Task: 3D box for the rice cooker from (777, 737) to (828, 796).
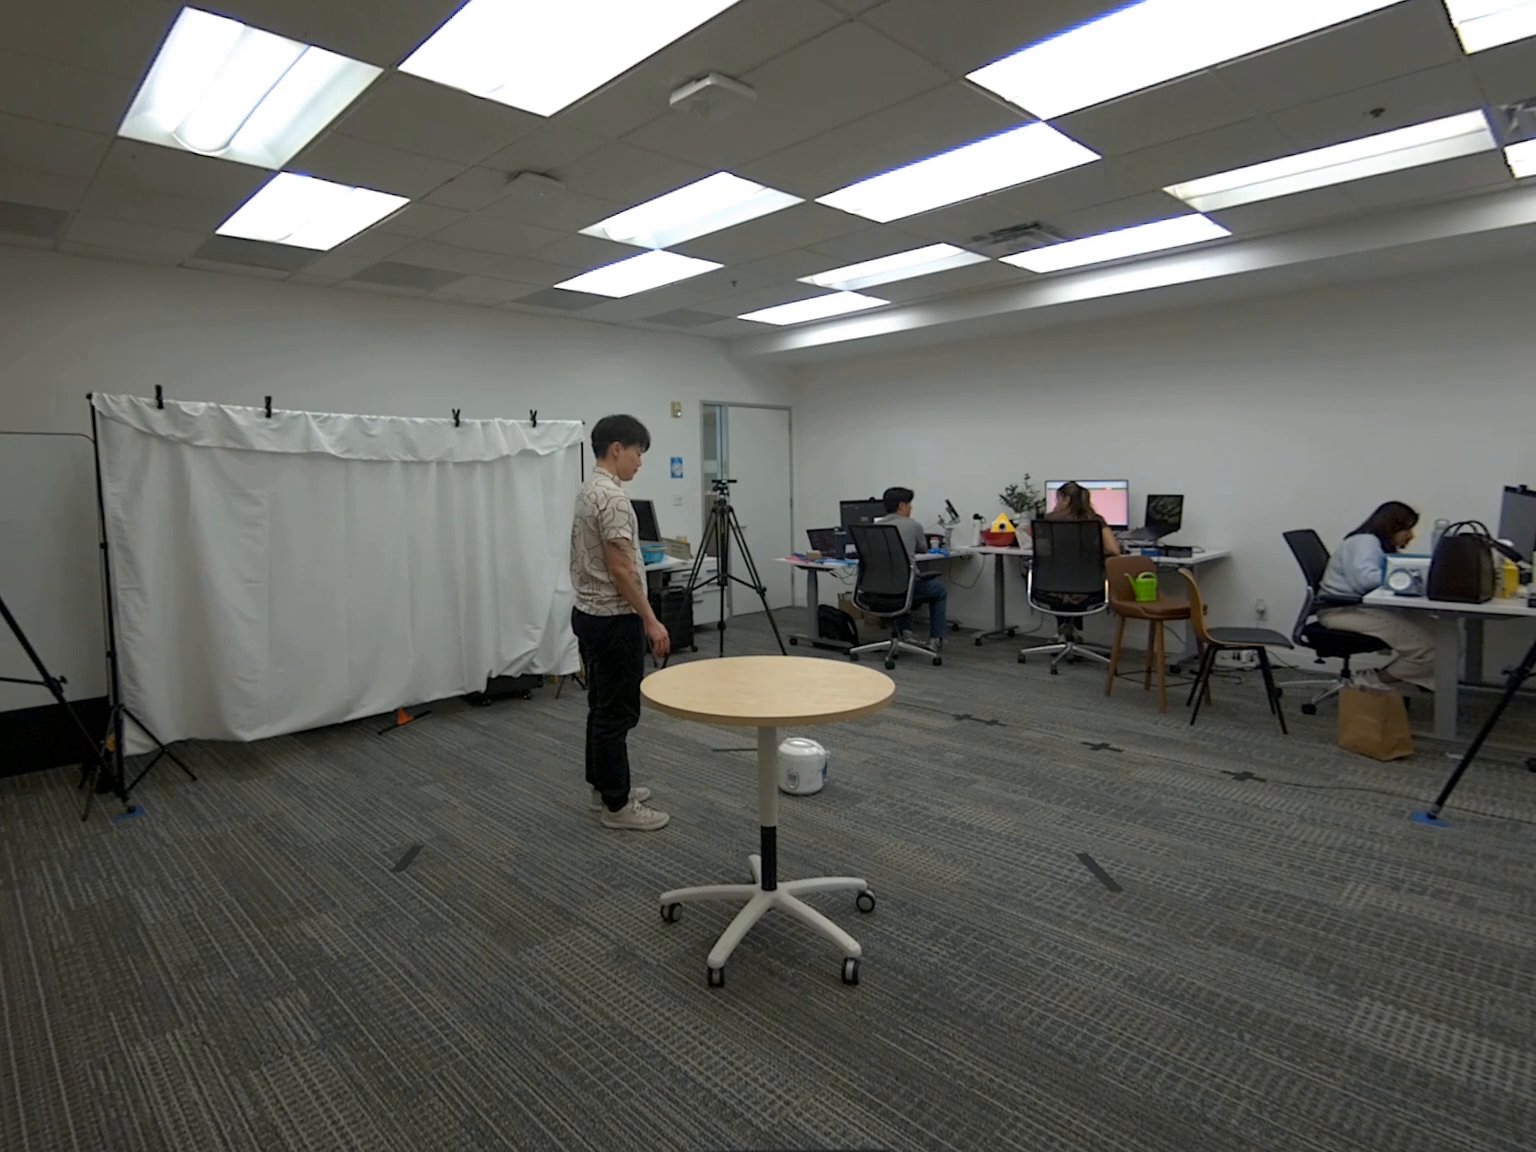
[{"bbox_3d":[0.146,0.840,3.837,0.225,0.232,0.213,2,4,24],"label":"rice cooker"}]
